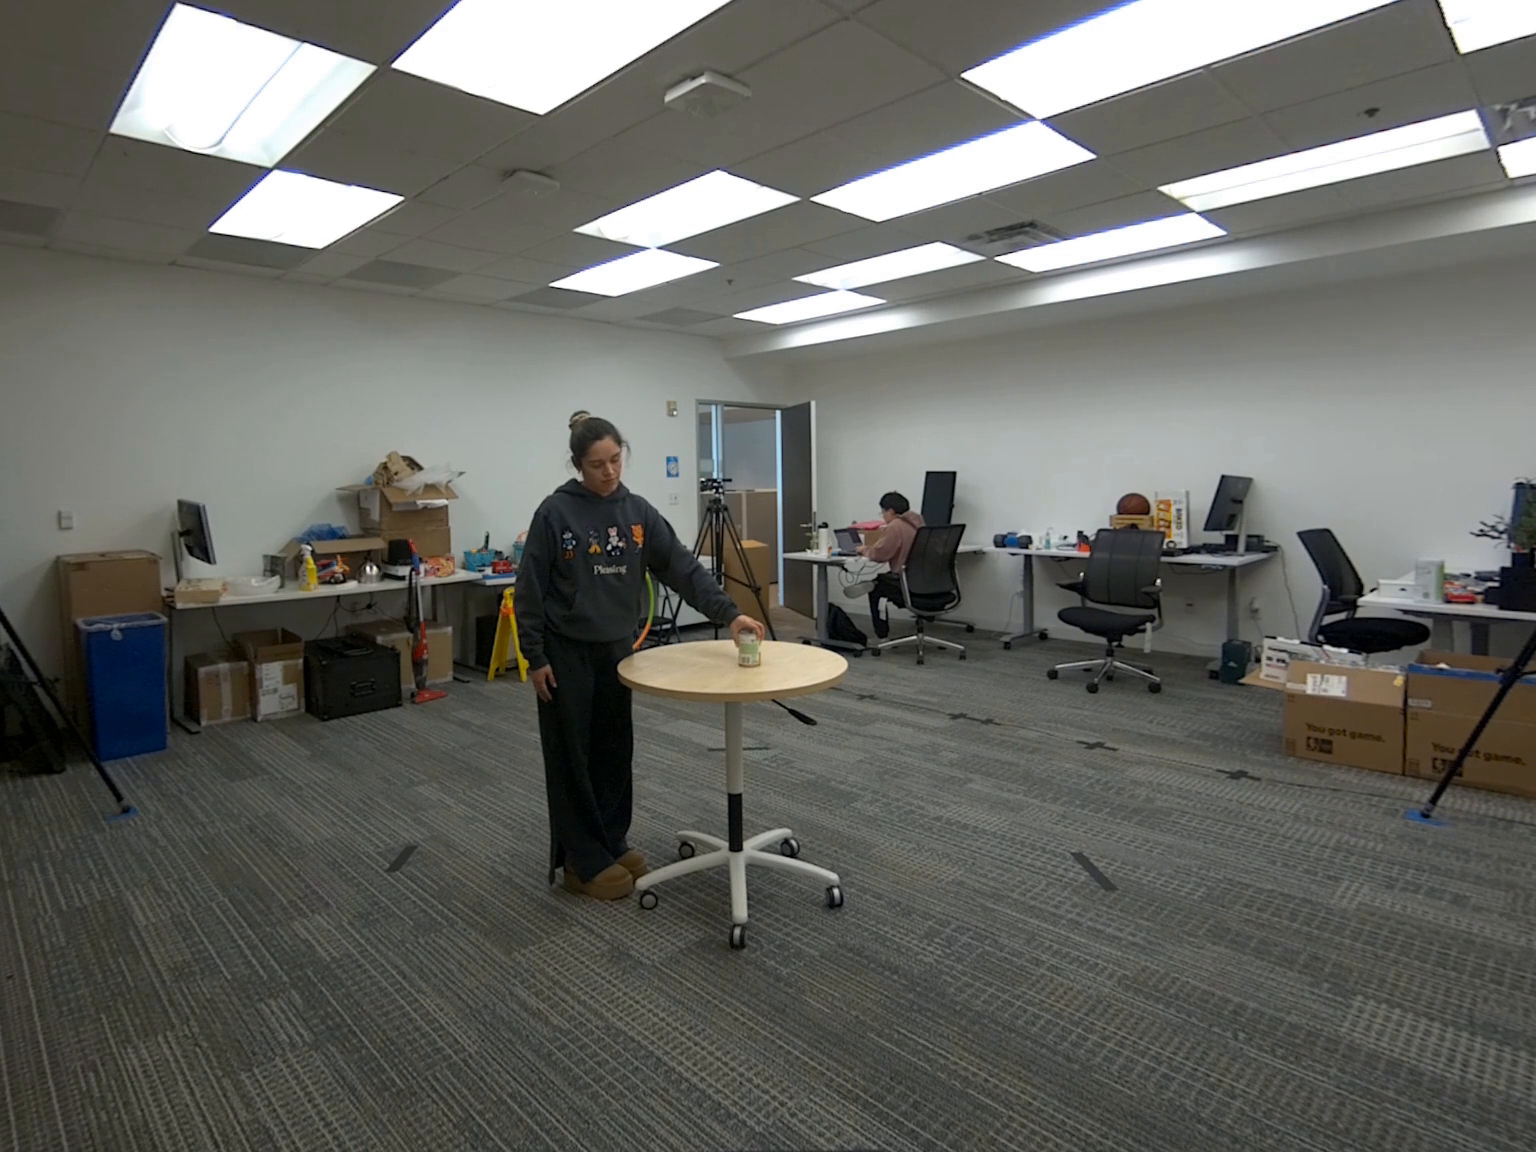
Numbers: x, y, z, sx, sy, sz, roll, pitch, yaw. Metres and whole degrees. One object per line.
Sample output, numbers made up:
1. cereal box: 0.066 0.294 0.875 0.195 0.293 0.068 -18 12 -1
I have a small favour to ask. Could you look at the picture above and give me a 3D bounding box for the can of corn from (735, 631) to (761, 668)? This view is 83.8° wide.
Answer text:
1. can of corn: -0.069 0.233 2.805 0.074 0.110 0.074 0 5 -2
